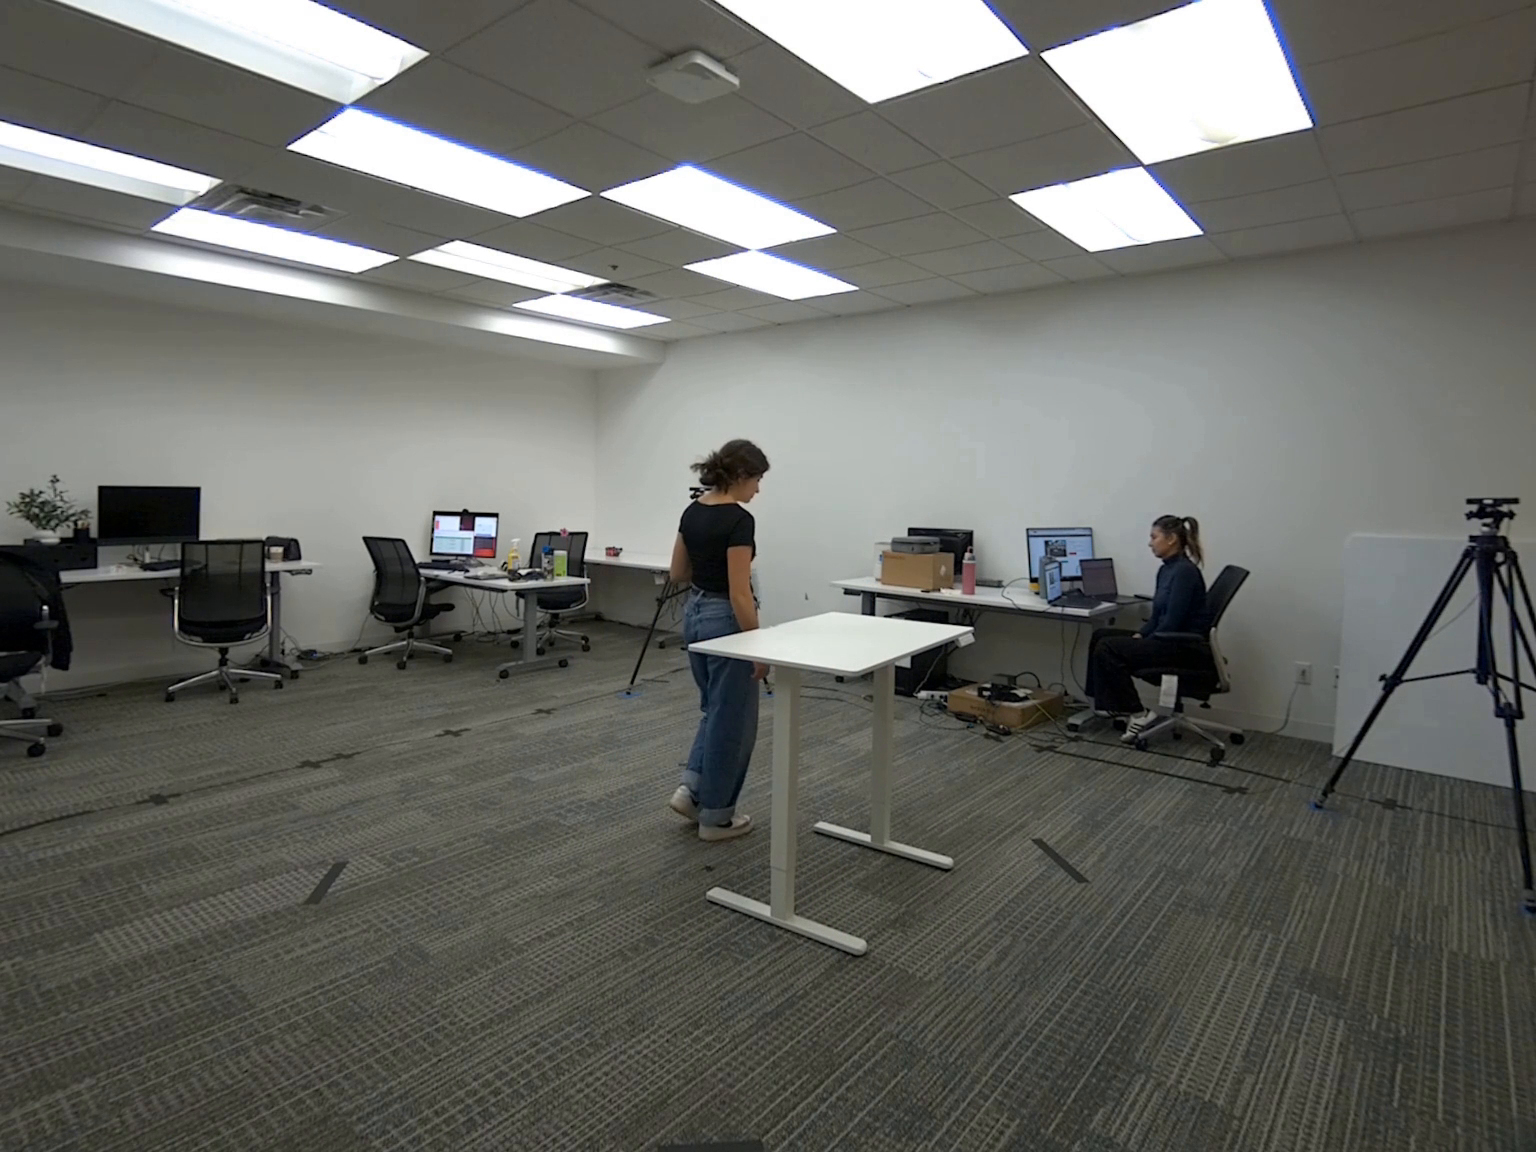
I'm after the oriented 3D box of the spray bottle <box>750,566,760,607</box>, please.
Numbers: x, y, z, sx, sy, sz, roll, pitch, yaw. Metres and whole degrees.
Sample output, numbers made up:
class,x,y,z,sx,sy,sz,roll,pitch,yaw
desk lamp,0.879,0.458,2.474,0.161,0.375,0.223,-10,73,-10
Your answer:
class,x,y,z,sx,sy,sz,roll,pitch,yaw
spray bottle,-0.097,-0.022,3.570,0.088,0.296,0.089,-9,5,-24
